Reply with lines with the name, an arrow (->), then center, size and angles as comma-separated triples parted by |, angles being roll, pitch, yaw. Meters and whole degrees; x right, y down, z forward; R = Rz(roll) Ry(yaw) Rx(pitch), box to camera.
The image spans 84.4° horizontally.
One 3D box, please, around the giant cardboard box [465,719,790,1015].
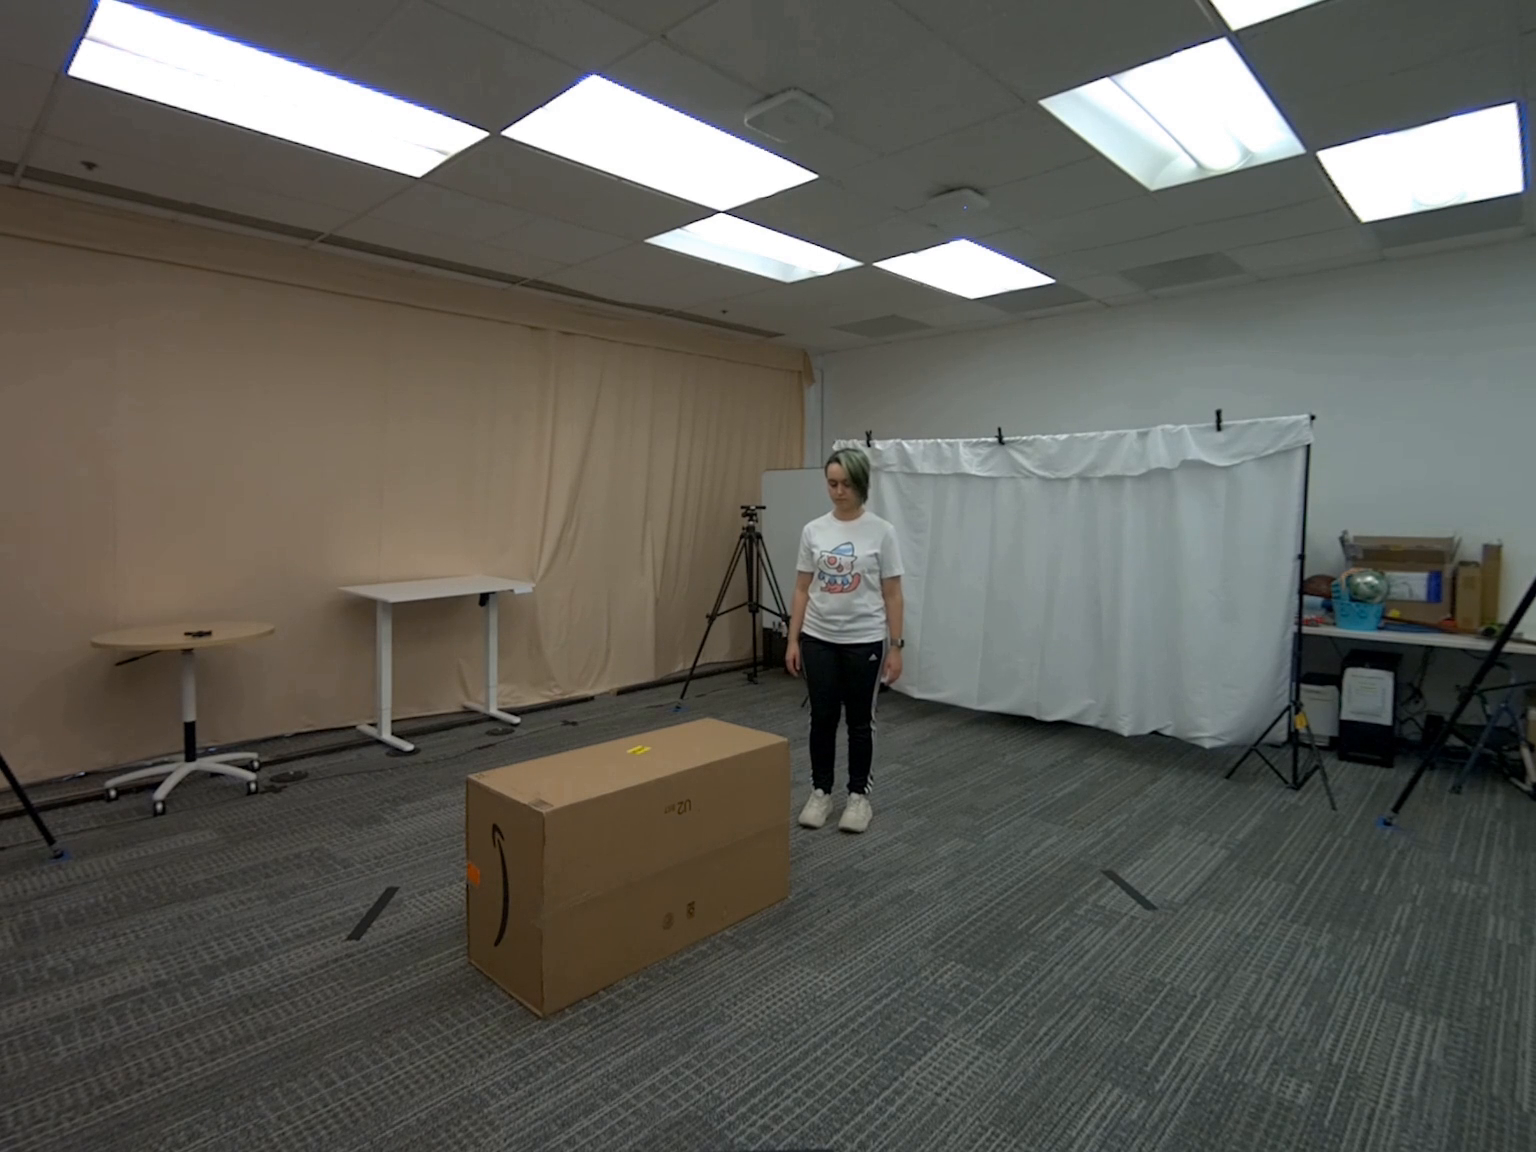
giant cardboard box -> -0.421, 0.877, 2.774 | 0.461, 0.583, 0.995 | 2, 4, 43
